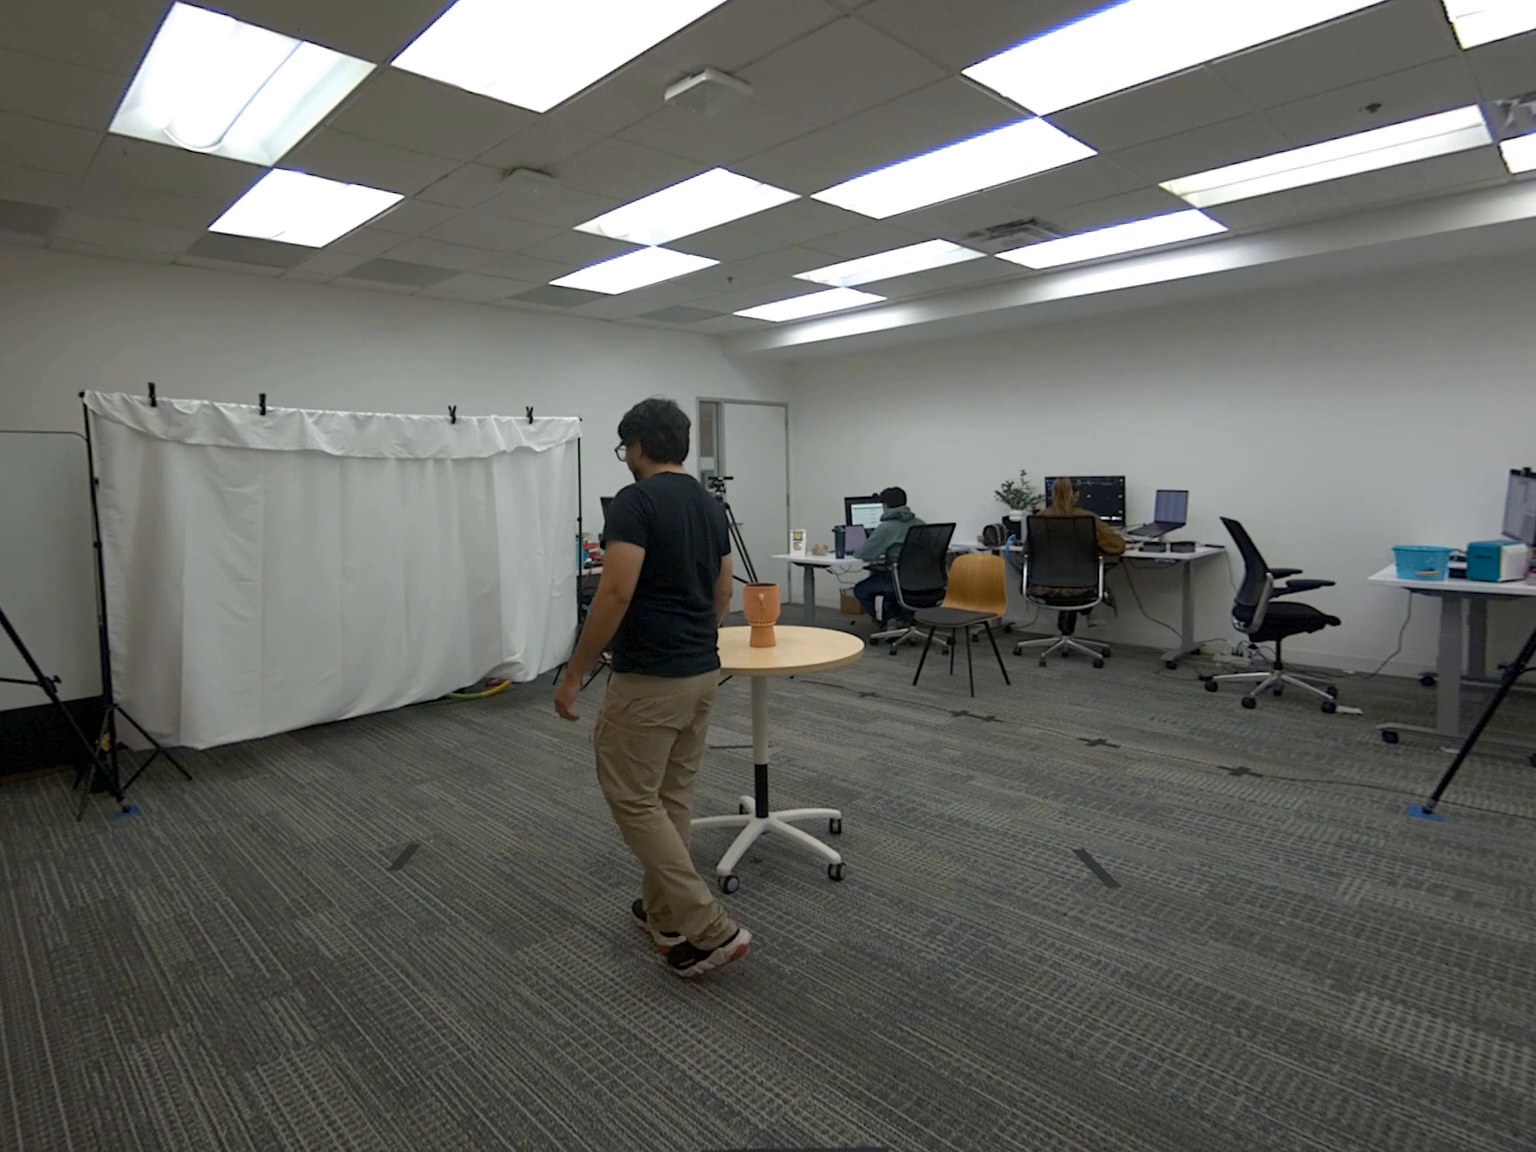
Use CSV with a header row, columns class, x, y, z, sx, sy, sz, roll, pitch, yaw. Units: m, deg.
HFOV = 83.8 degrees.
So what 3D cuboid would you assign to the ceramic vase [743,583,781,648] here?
class,x,y,z,sx,sy,sz,roll,pitch,yaw
ceramic vase,-0.024,0.142,3.109,0.138,0.219,0.155,1,5,39
